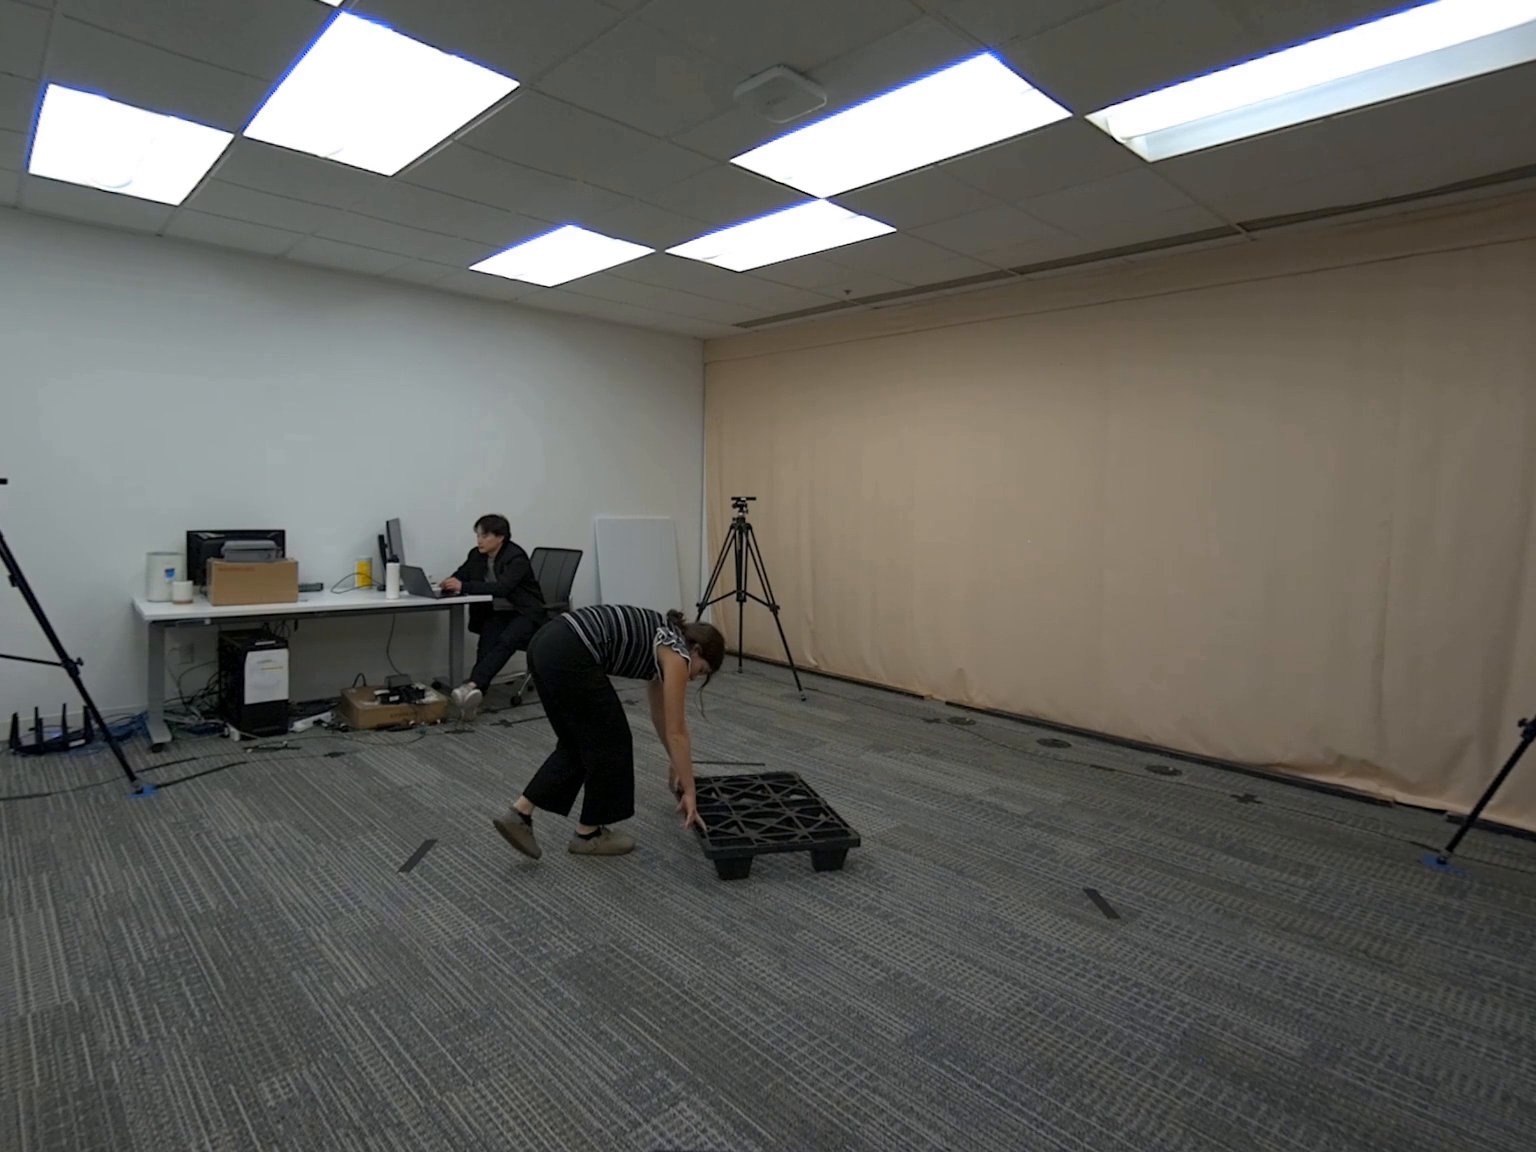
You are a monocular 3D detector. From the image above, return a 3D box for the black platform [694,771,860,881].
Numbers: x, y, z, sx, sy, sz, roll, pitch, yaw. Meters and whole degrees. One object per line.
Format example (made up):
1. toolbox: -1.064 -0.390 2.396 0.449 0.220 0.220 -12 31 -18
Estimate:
1. black platform: -0.055 1.008 3.465 0.598 0.143 0.817 1 5 -16
